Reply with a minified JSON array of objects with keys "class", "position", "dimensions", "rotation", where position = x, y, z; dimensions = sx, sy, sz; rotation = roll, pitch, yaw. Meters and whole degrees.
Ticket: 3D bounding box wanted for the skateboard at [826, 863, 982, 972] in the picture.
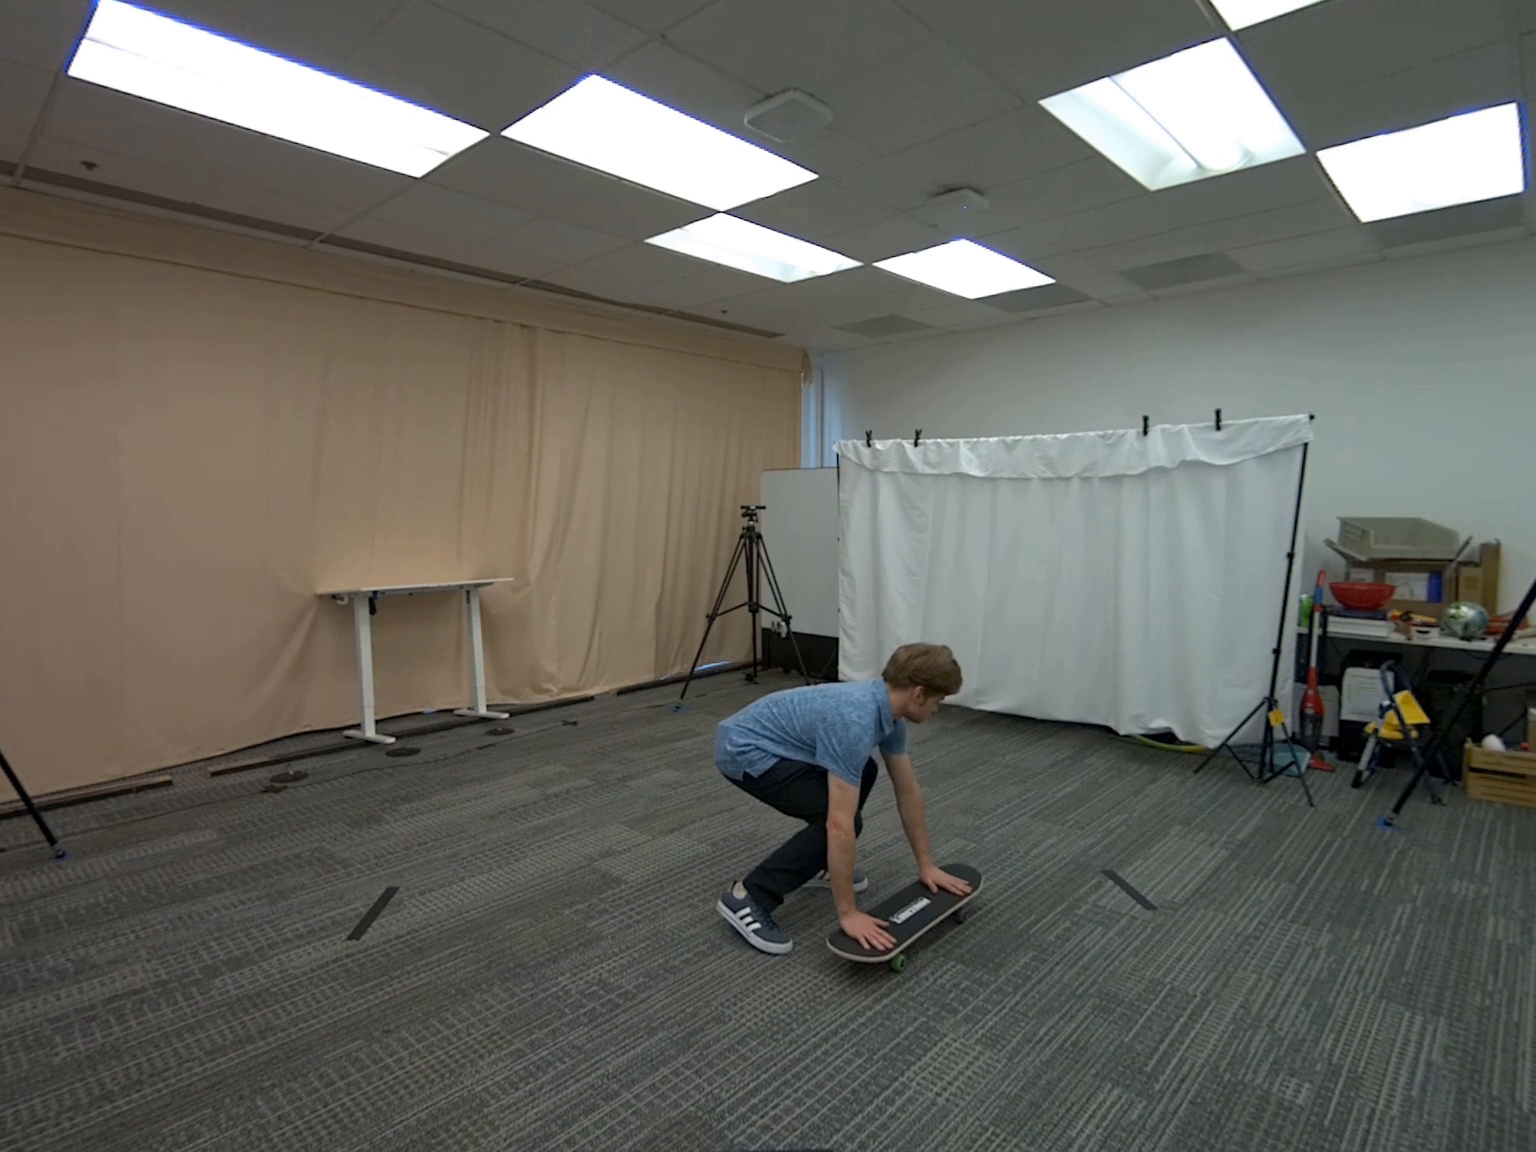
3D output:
[{"class":"skateboard","position":[0.458,1.107,2.719],"dimensions":[0.200,0.110,0.761],"rotation":[6,7,41]}]
